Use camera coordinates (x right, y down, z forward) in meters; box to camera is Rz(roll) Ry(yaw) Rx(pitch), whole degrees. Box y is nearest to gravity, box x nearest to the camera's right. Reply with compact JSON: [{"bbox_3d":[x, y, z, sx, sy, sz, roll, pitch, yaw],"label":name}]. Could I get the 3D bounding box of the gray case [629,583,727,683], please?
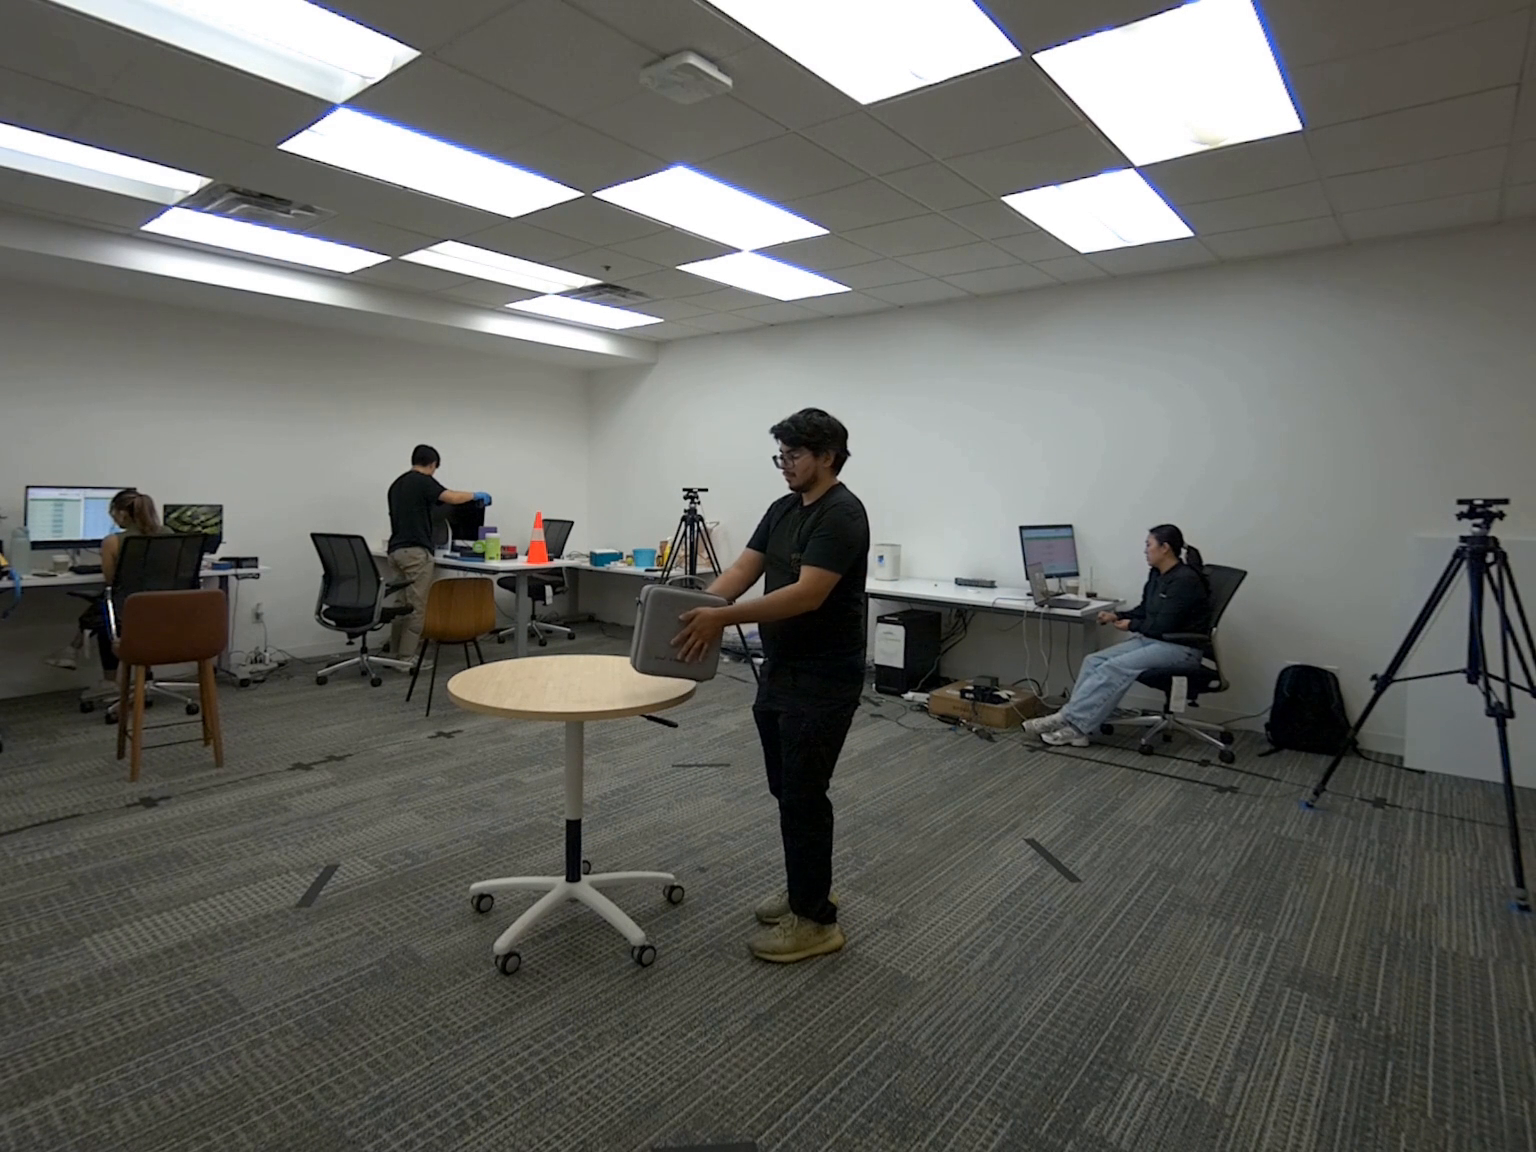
[{"bbox_3d":[-0.269,0.158,2.477,0.250,0.261,0.107,11,-3,-23],"label":"gray case"}]
